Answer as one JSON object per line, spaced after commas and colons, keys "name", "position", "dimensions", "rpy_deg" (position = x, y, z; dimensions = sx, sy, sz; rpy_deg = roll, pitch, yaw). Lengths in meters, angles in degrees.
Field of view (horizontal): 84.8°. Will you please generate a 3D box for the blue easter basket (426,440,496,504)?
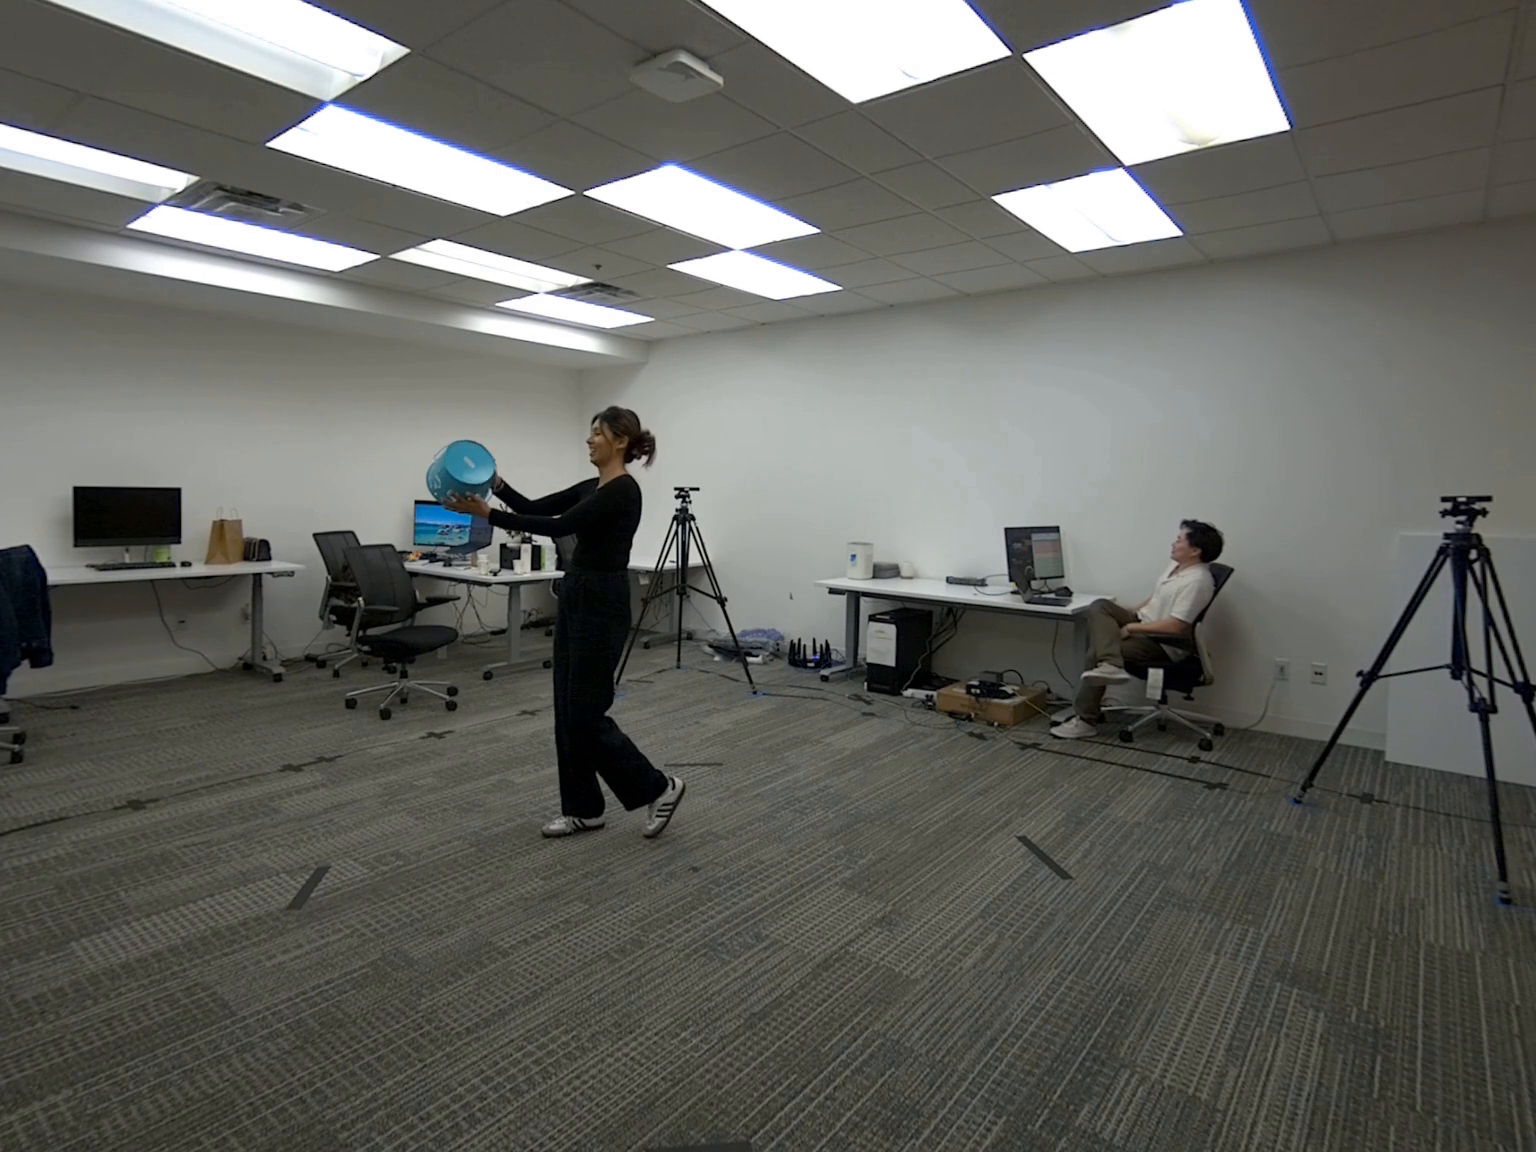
{"name": "blue easter basket", "position": [-1.122, -0.380, 3.083], "dimensions": [0.237, 0.249, 0.157], "rpy_deg": [-2, -23, -35]}
